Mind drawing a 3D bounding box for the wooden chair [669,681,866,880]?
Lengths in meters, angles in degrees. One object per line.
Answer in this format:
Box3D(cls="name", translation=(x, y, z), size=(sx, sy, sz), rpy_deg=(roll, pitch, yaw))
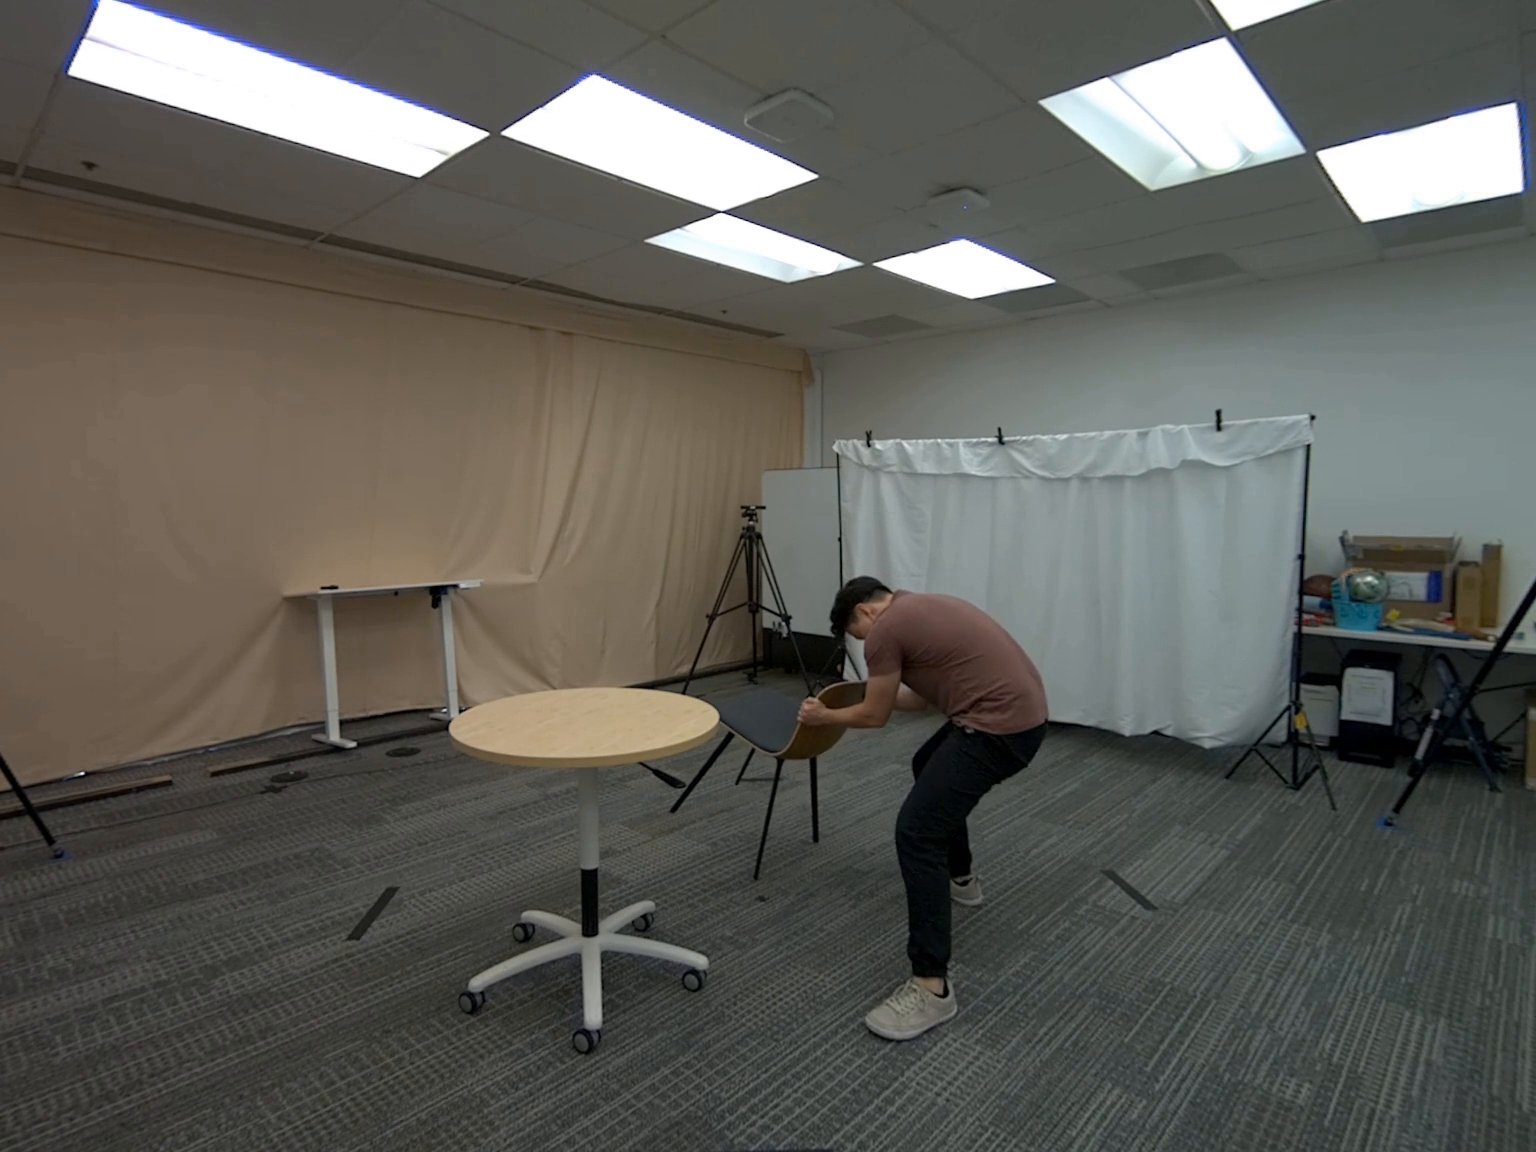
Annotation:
Box3D(cls="wooden chair", translation=(0.027, 0.632, 3.314), size=(0.541, 0.874, 0.464), rpy_deg=(33, 22, 31))
